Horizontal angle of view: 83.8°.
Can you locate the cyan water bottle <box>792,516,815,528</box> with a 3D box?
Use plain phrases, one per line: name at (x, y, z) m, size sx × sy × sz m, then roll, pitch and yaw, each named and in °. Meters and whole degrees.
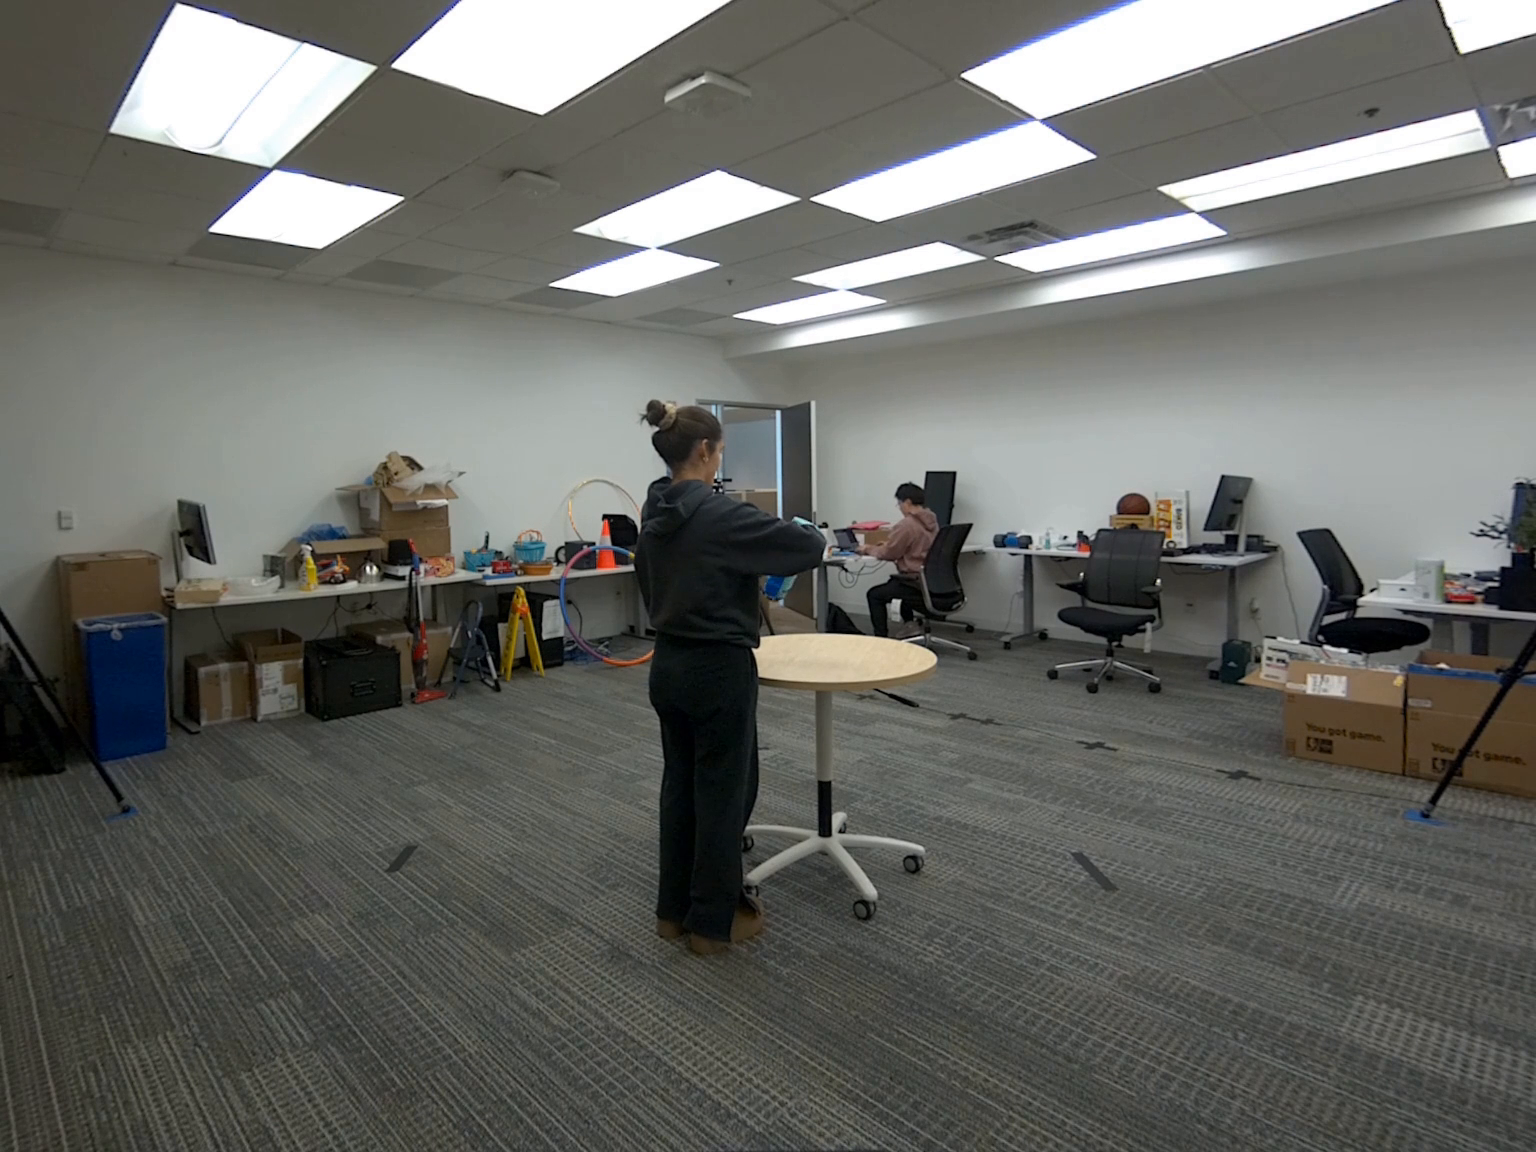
cyan water bottle at (0.065, -0.048, 2.756) m, size 0.092 × 0.282 × 0.093 m, roll 24°, pitch 9°, yaw -6°
